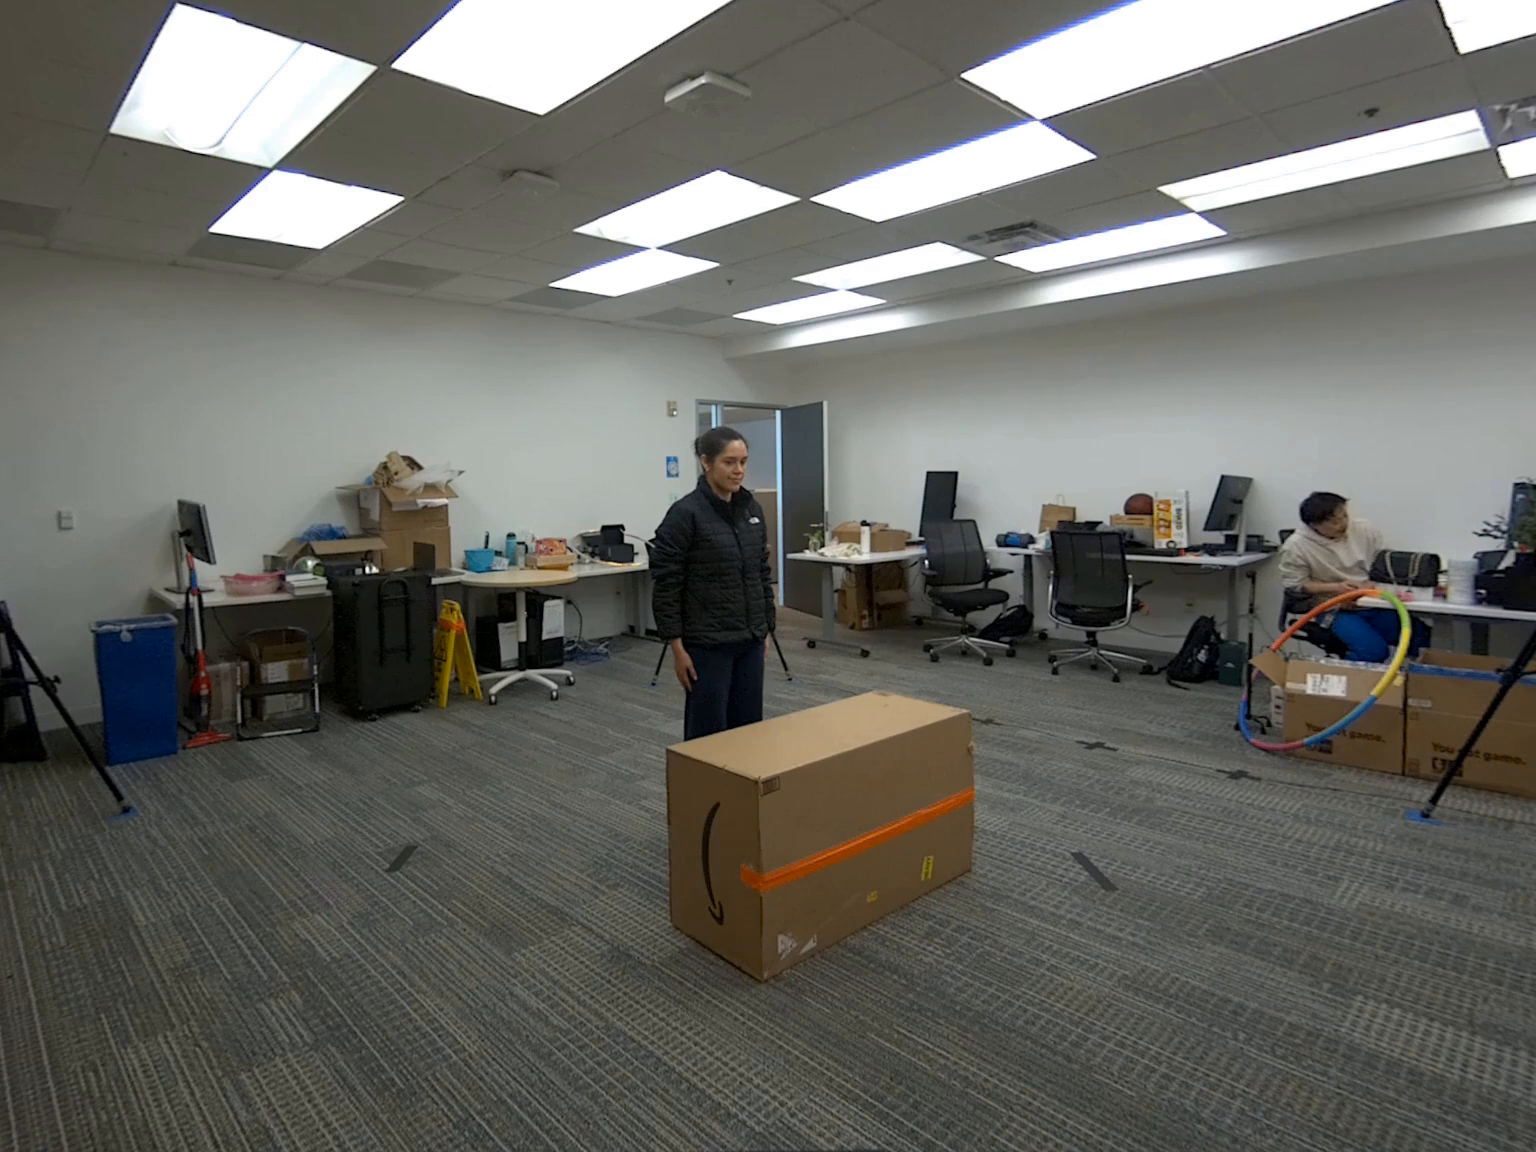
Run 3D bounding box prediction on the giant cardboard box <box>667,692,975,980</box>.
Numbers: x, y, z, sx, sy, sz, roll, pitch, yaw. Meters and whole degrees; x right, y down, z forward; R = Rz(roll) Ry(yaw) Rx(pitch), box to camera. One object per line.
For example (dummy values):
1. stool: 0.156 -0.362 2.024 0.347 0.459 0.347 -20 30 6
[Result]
1. giant cardboard box: 0.209 0.786 2.841 1.000 0.582 0.460 -6 6 -41
